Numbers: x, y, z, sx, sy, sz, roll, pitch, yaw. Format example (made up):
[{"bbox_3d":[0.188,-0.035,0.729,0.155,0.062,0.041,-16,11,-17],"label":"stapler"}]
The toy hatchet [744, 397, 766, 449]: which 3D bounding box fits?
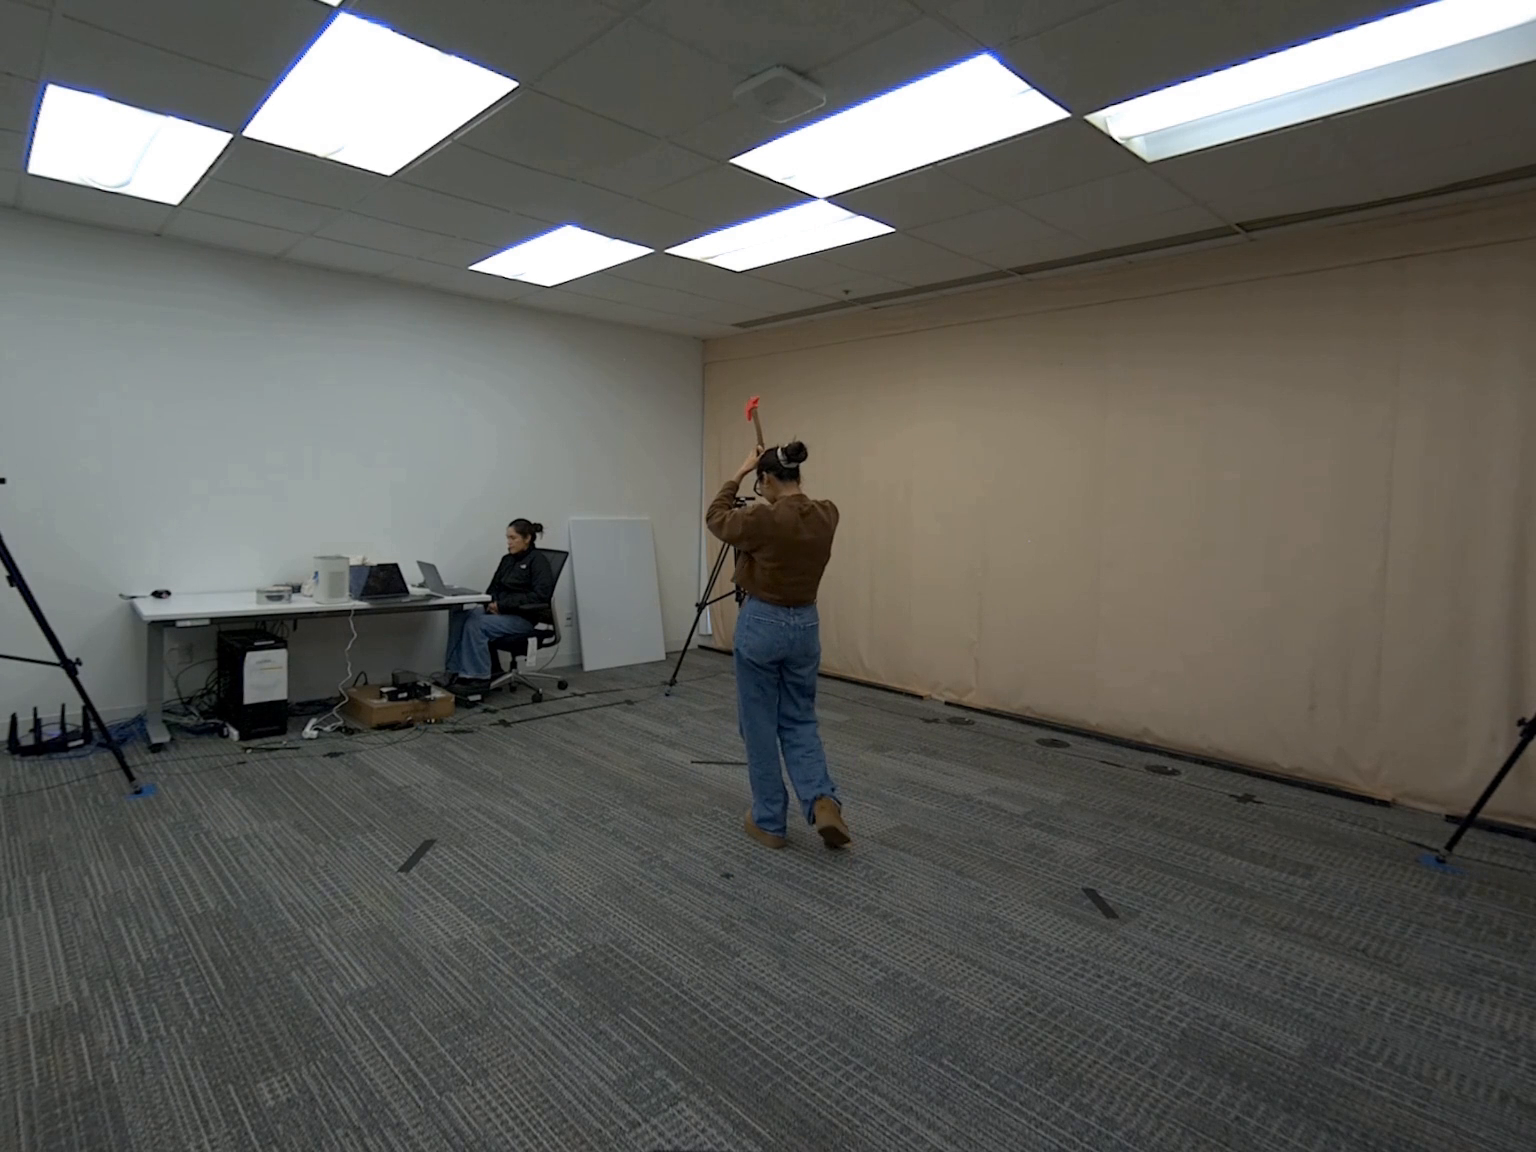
[{"bbox_3d":[-0.068,-0.630,3.592,0.029,0.270,0.133,-4,-2,-32],"label":"toy hatchet"}]
